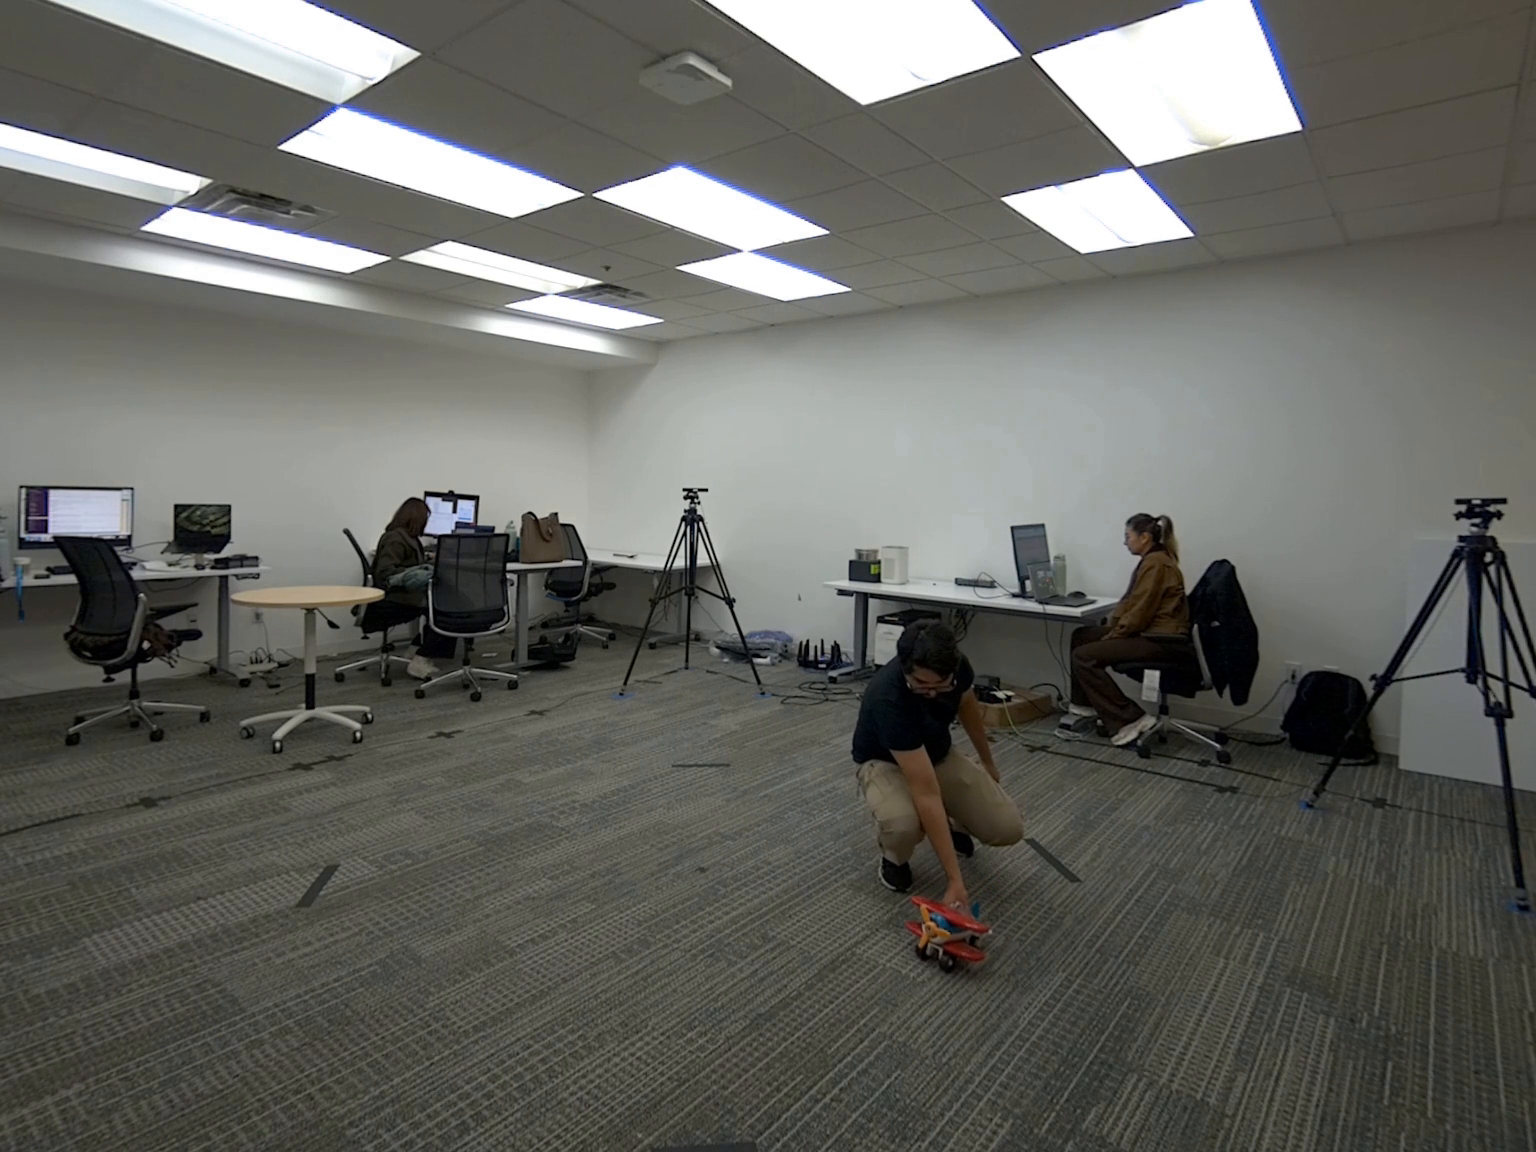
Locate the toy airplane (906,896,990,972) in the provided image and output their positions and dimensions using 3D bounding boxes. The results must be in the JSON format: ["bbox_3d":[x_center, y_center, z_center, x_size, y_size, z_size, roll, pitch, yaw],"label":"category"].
[{"bbox_3d":[0.548,1.064,2.589,0.256,0.155,0.255,3,7,19],"label":"toy airplane"}]
